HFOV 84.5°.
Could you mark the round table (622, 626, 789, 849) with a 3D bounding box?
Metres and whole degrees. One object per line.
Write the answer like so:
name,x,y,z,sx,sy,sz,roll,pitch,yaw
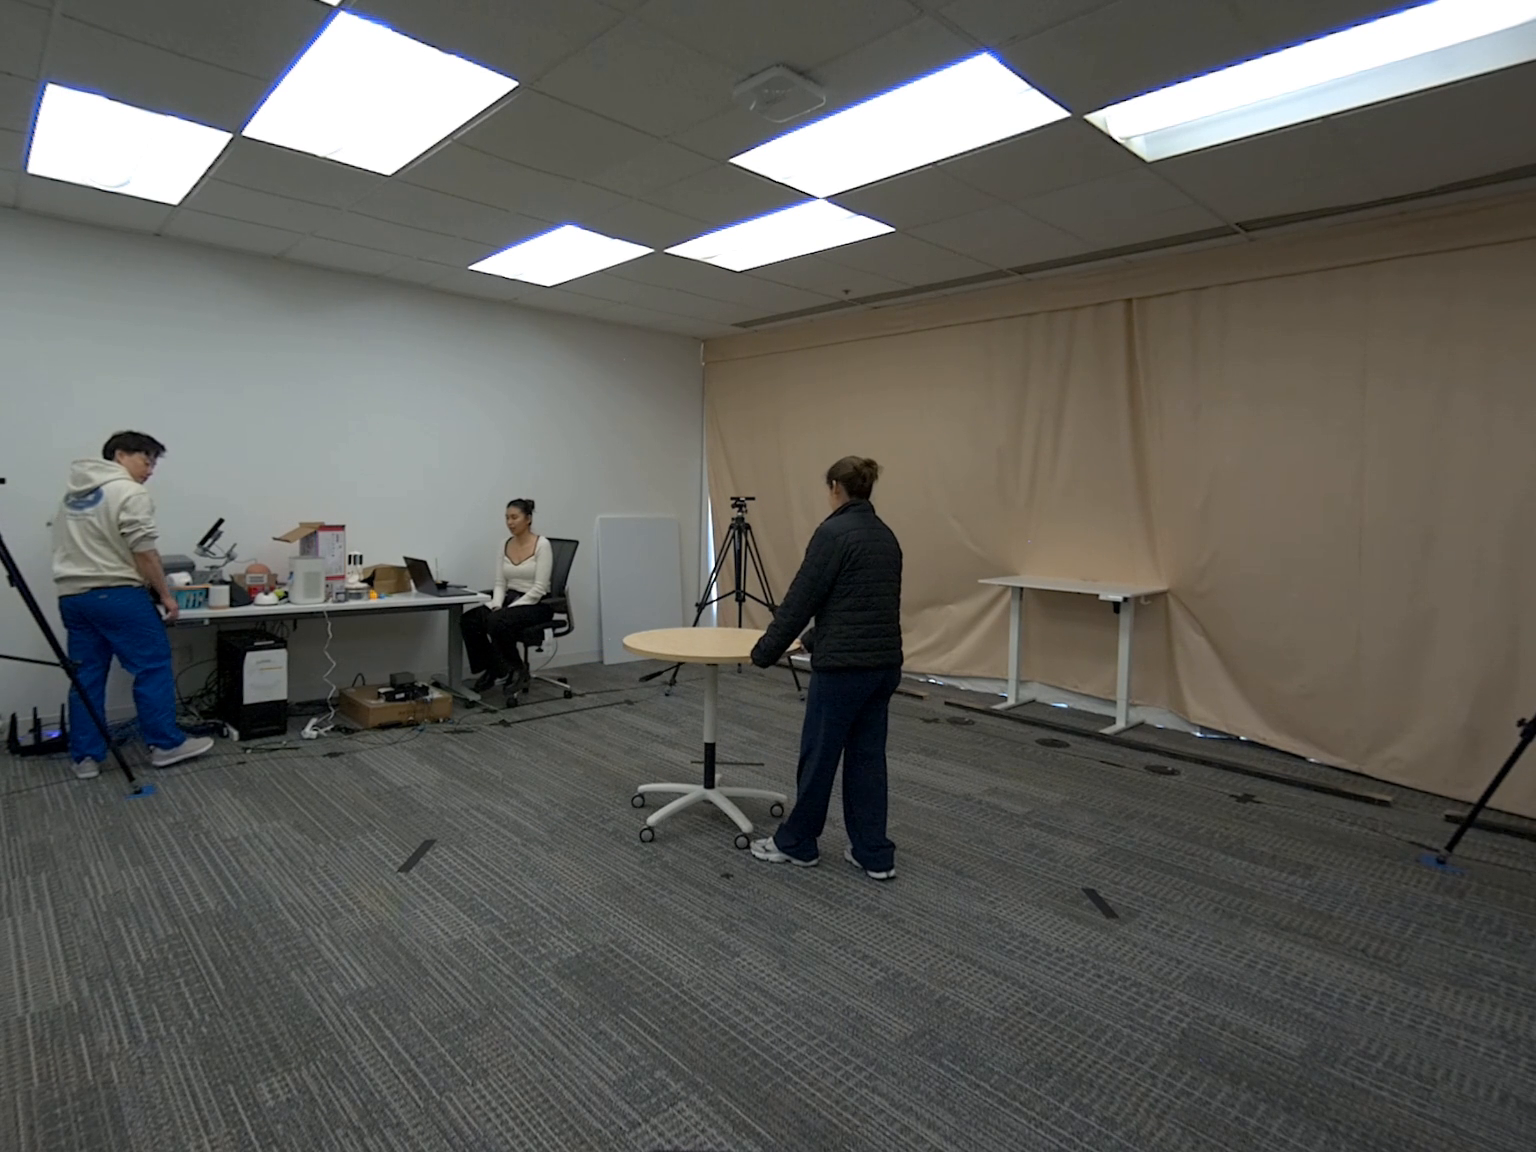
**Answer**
round table,-0.256,0.668,3.609,0.784,0.785,0.787,1,3,-1
